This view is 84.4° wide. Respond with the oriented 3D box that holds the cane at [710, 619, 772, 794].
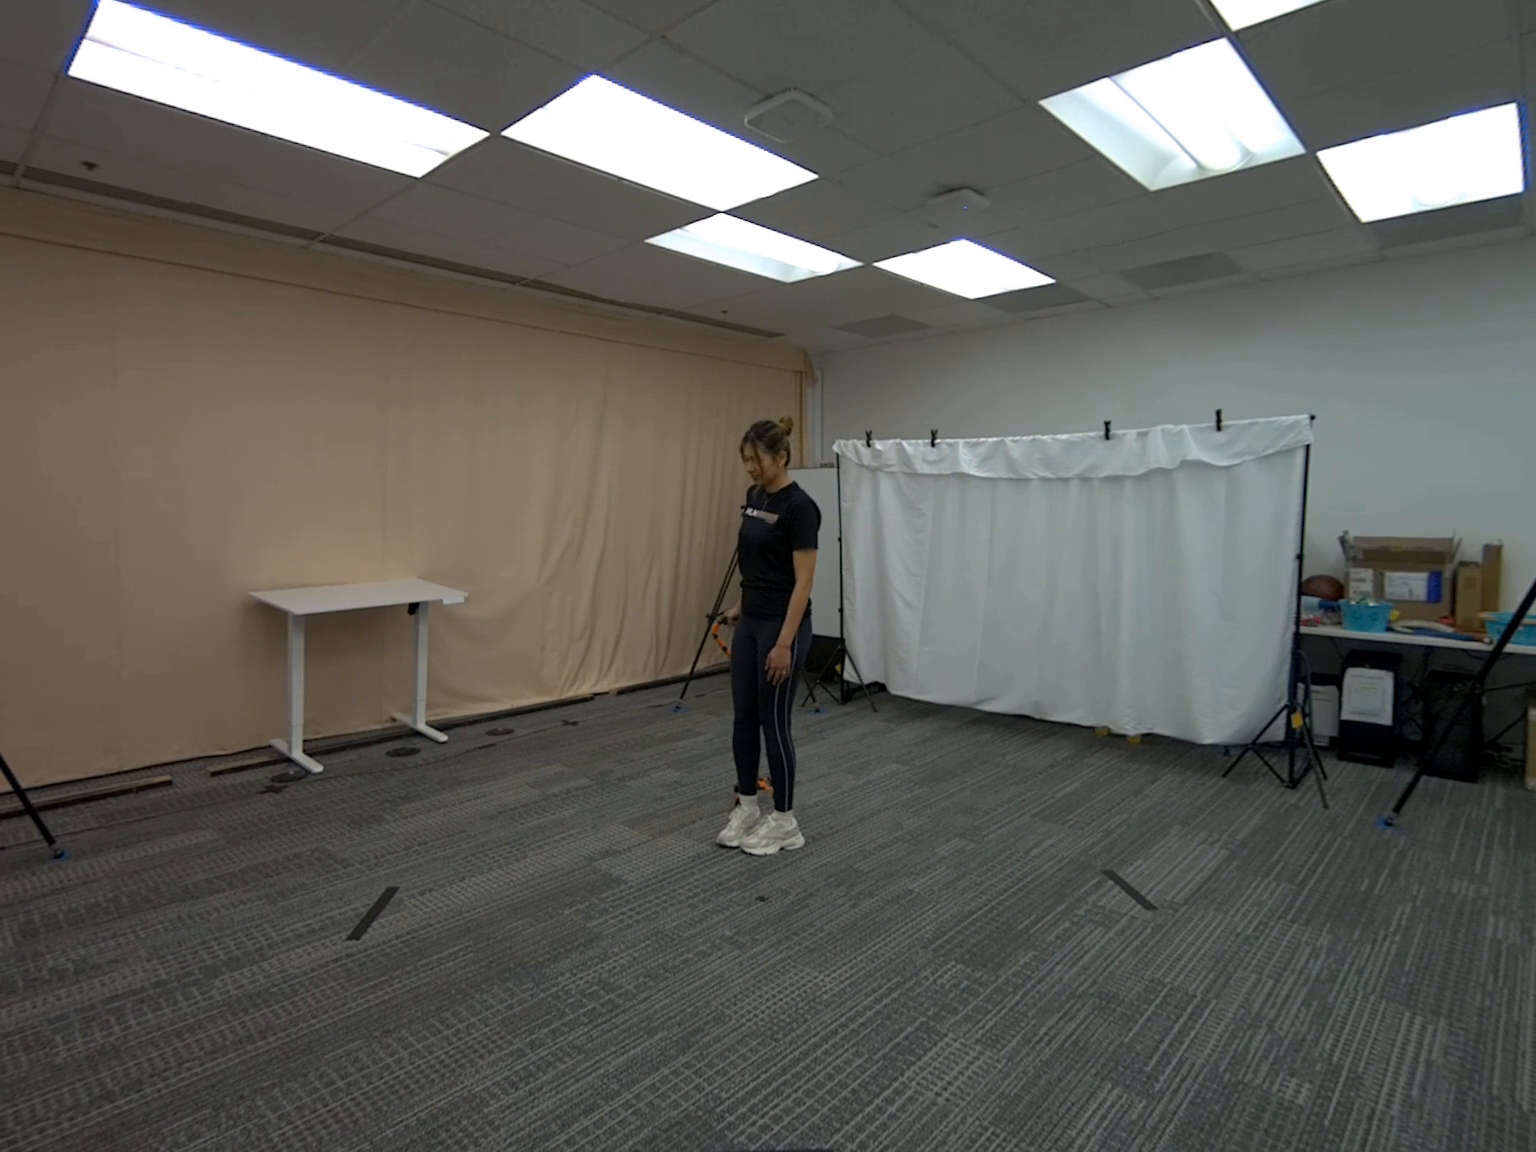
[{"bbox_3d":[-0.132,0.607,3.868,0.207,0.898,0.153,-9,14,0],"label":"cane"}]
